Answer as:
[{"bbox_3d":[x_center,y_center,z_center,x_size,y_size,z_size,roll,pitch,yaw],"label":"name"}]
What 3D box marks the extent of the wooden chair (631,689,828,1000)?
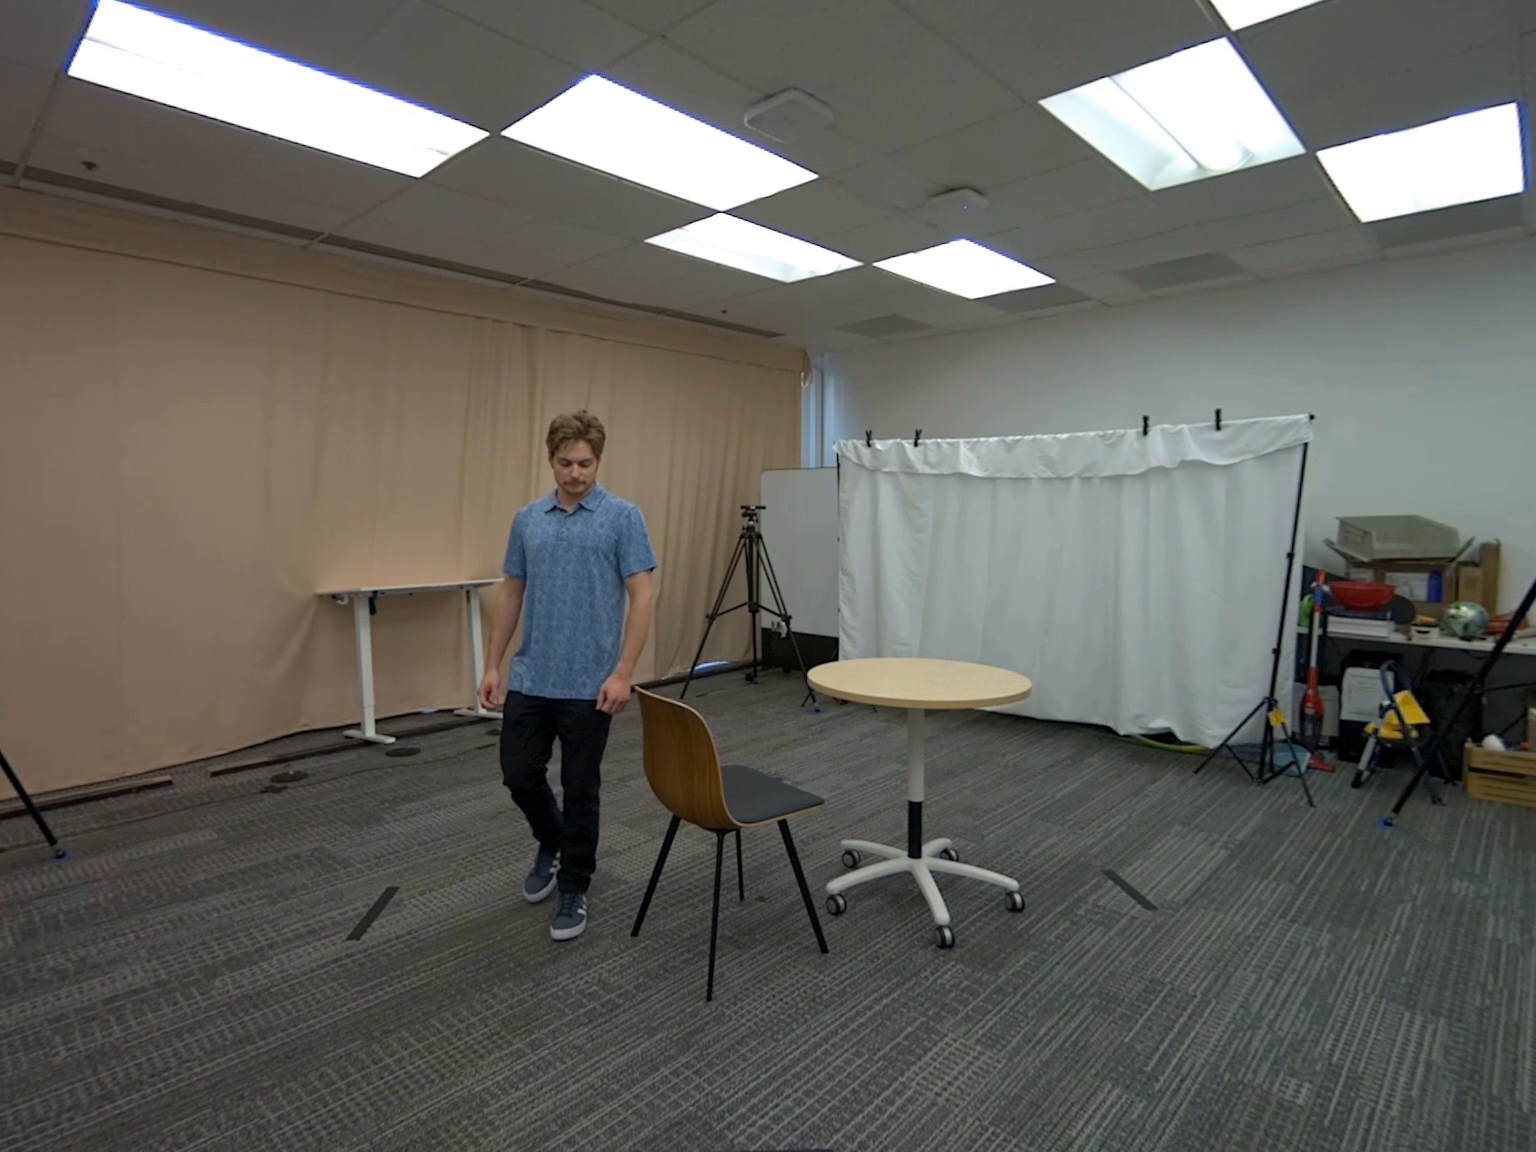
[{"bbox_3d":[-0.122,0.746,2.649,0.508,0.874,0.493,-8,7,-37],"label":"wooden chair"}]
